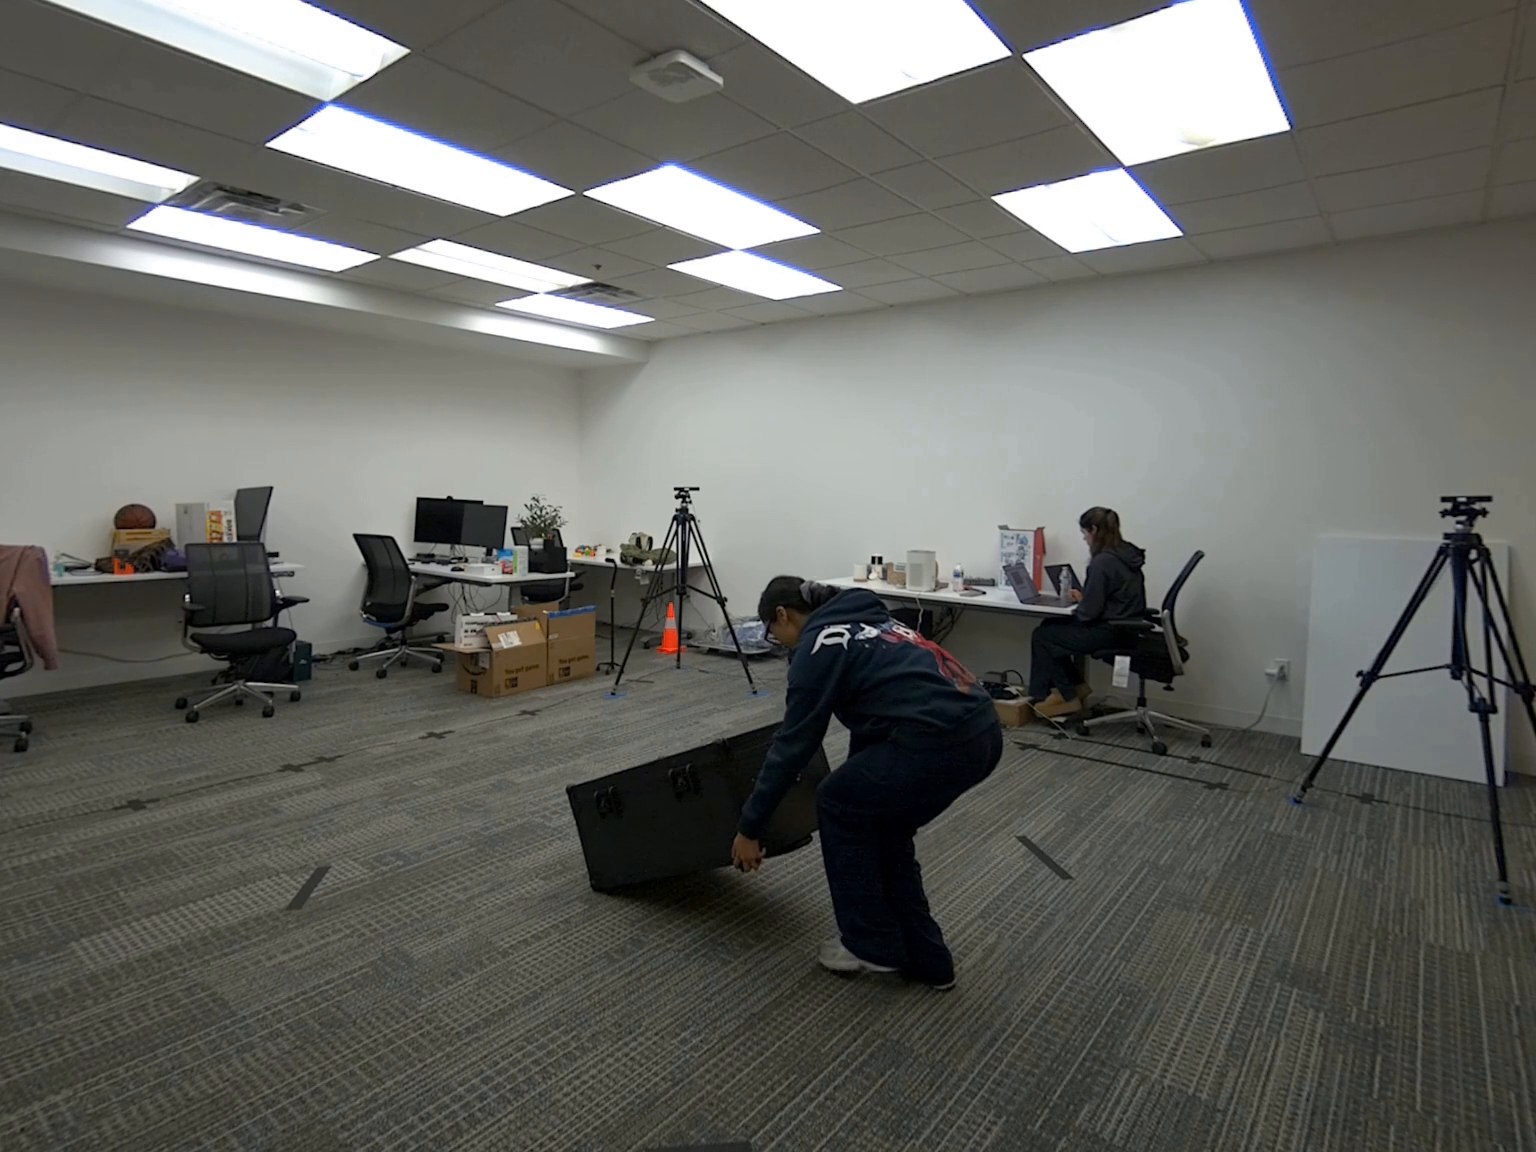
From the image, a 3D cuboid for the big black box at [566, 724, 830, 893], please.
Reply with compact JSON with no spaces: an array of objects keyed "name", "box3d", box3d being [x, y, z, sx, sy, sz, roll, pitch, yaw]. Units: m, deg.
[{"name":"big black box","box3d":[-0.257,0.787,2.924,0.875,0.402,0.506,-24,-13,37]}]
